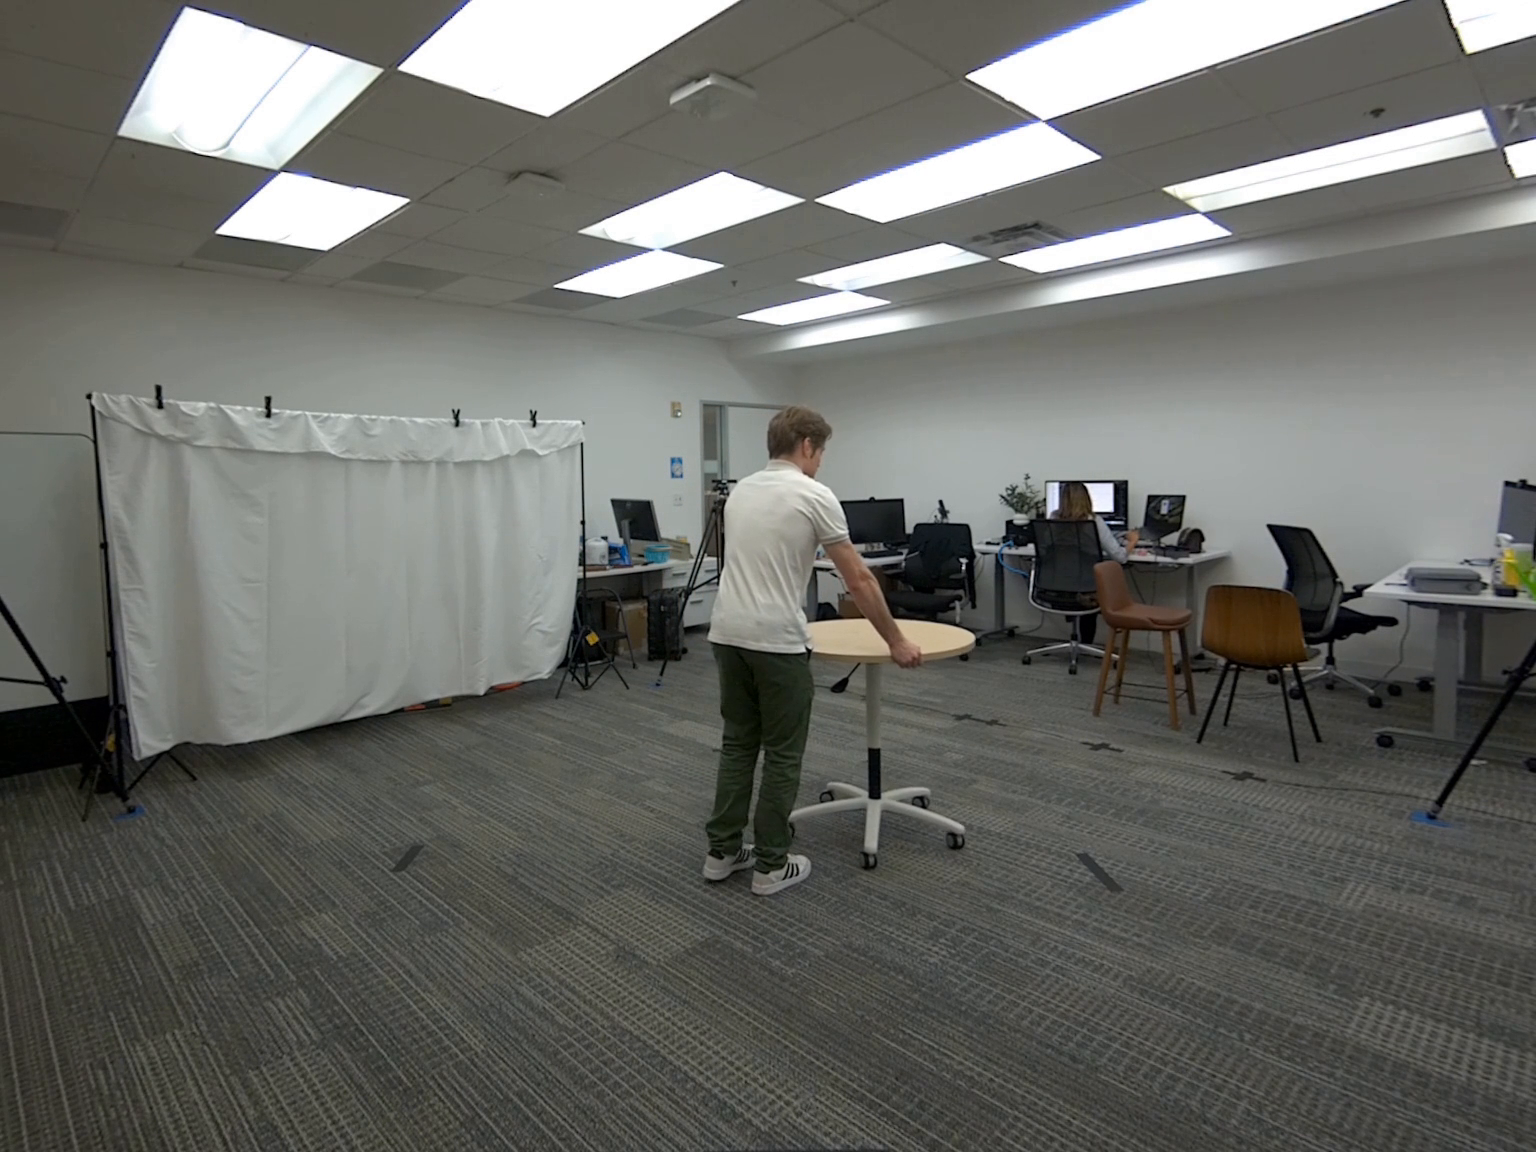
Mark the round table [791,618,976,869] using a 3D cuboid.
[{"bbox_3d":[0.415,0.623,3.343,0.763,0.791,0.768,-1,5,-2],"label":"round table"}]
